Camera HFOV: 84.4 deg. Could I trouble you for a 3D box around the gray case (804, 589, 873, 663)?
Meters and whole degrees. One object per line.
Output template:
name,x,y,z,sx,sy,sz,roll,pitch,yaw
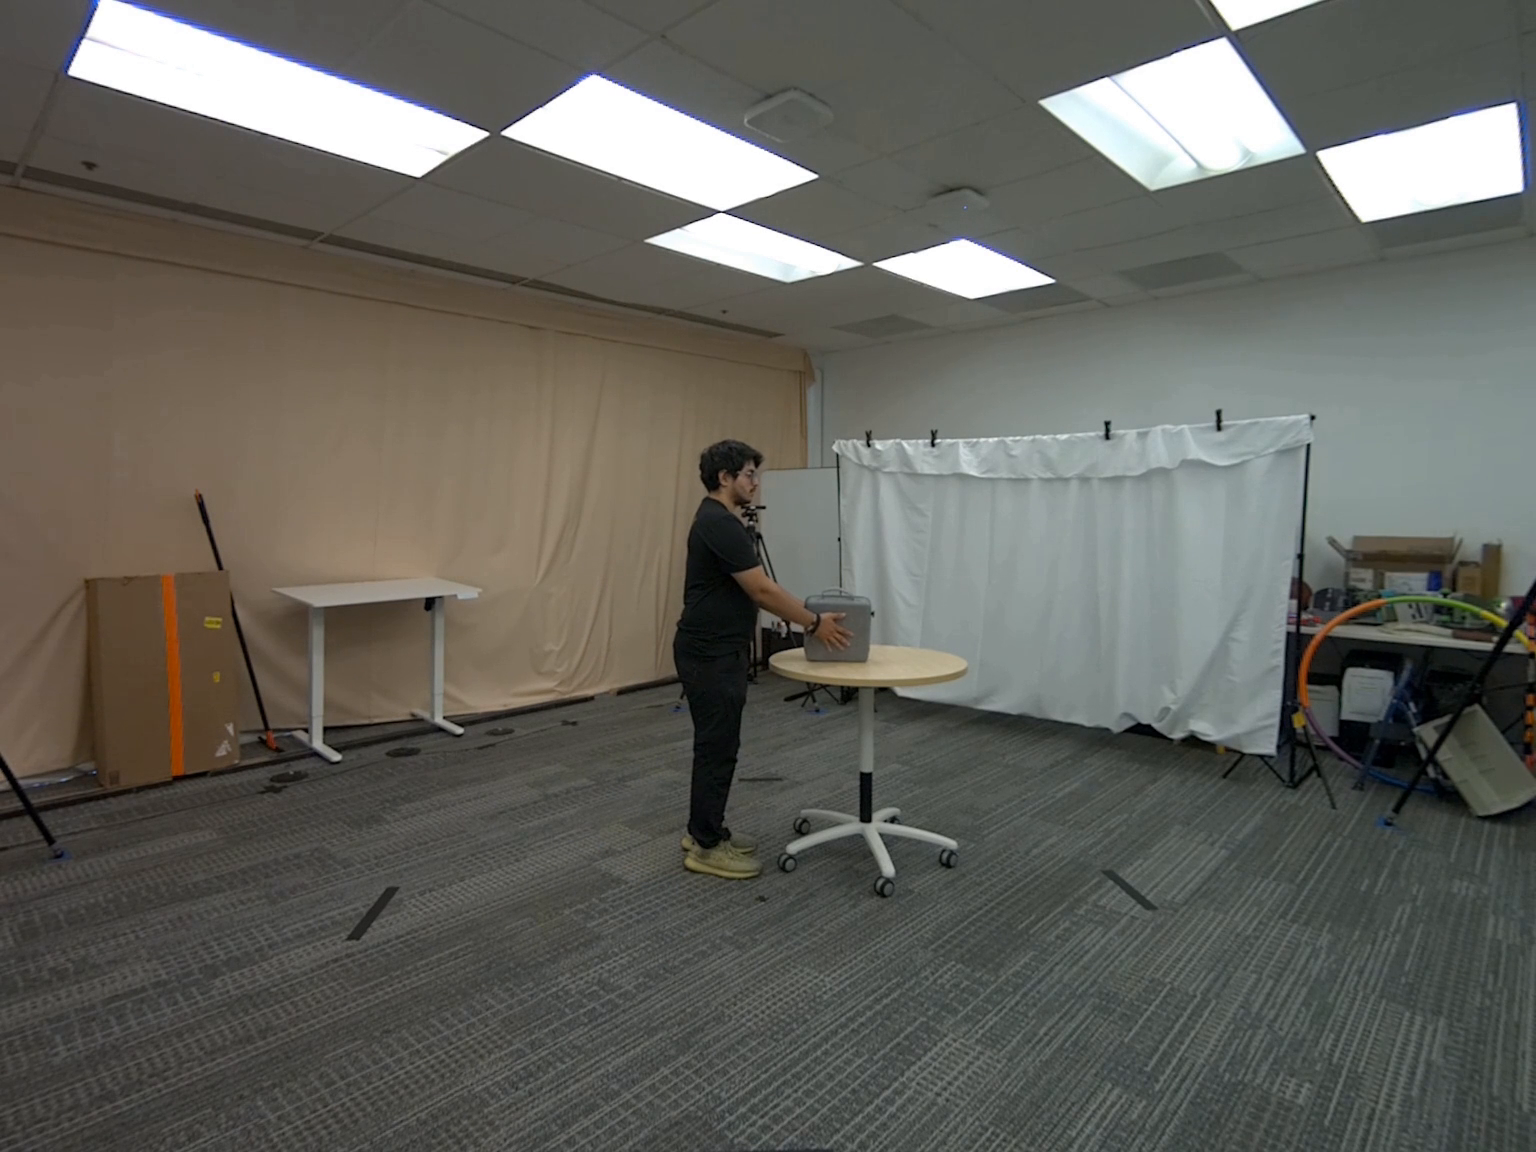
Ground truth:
gray case,0.279,0.201,3.286,0.258,0.259,0.104,1,10,6
